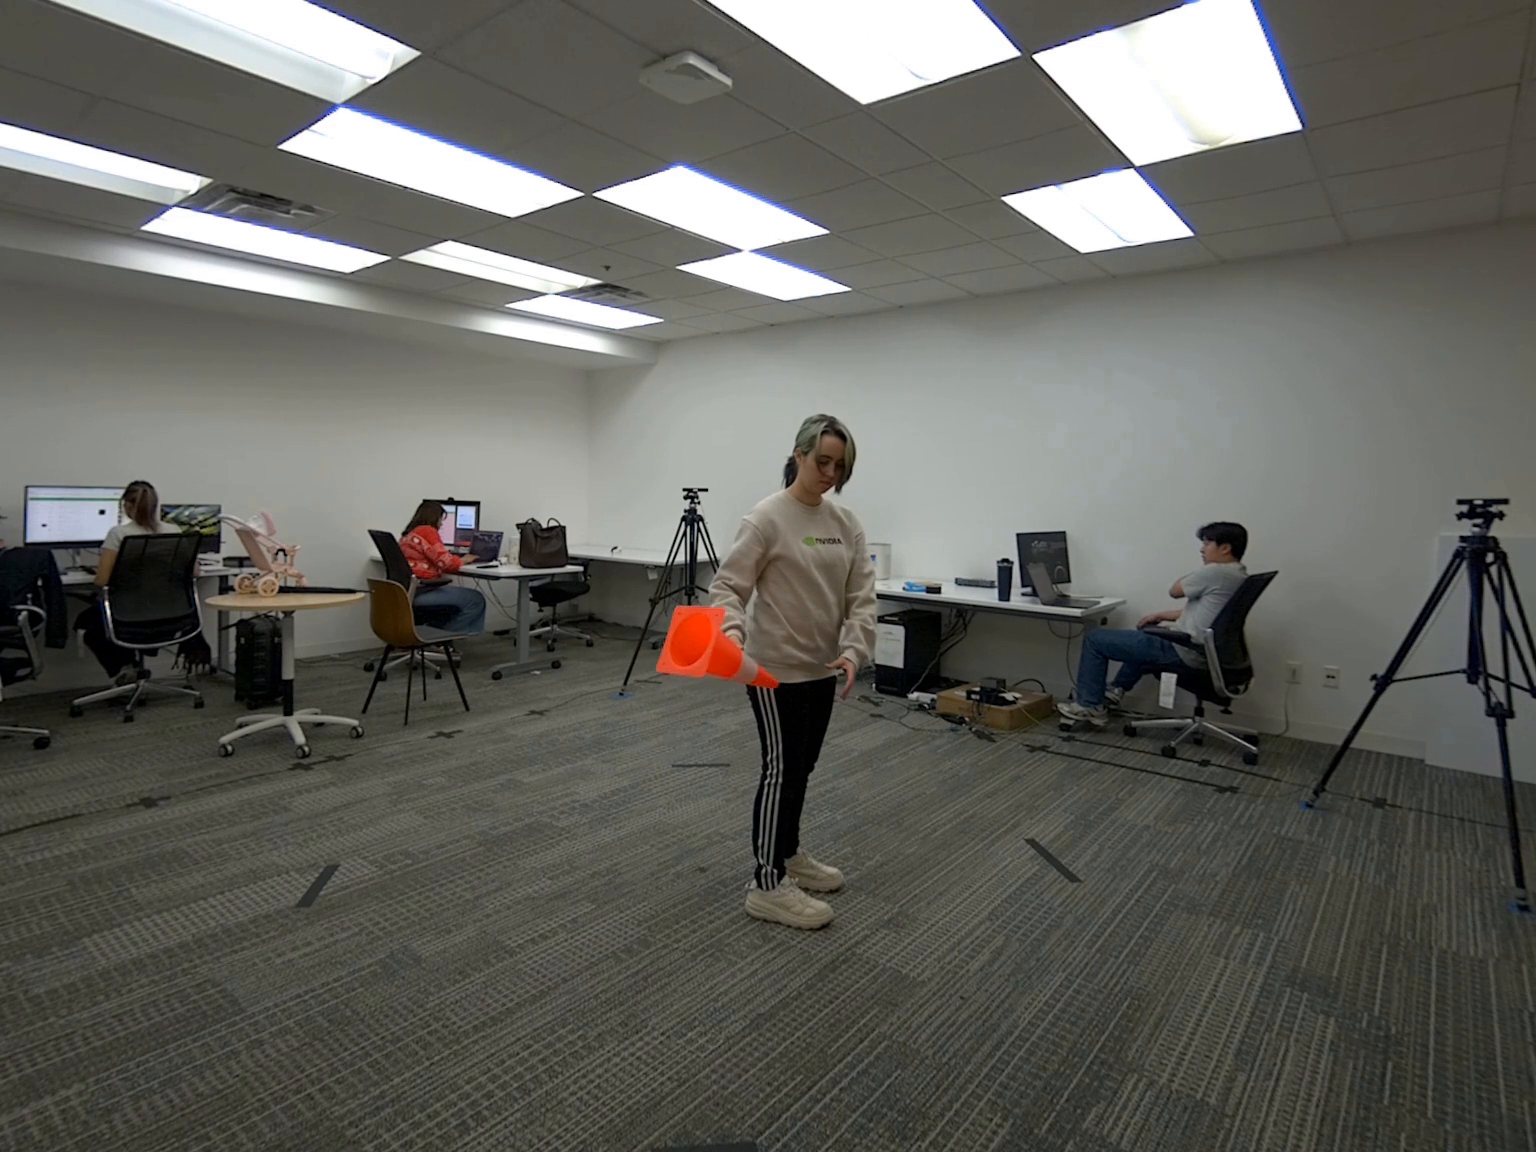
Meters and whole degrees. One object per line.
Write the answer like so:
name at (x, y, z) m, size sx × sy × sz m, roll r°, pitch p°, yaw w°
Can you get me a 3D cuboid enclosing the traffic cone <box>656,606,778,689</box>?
traffic cone at (-0.101, 0.259, 2.458) m, size 0.209 × 0.207 × 0.368 m, roll -3°, pitch -28°, yaw 45°
